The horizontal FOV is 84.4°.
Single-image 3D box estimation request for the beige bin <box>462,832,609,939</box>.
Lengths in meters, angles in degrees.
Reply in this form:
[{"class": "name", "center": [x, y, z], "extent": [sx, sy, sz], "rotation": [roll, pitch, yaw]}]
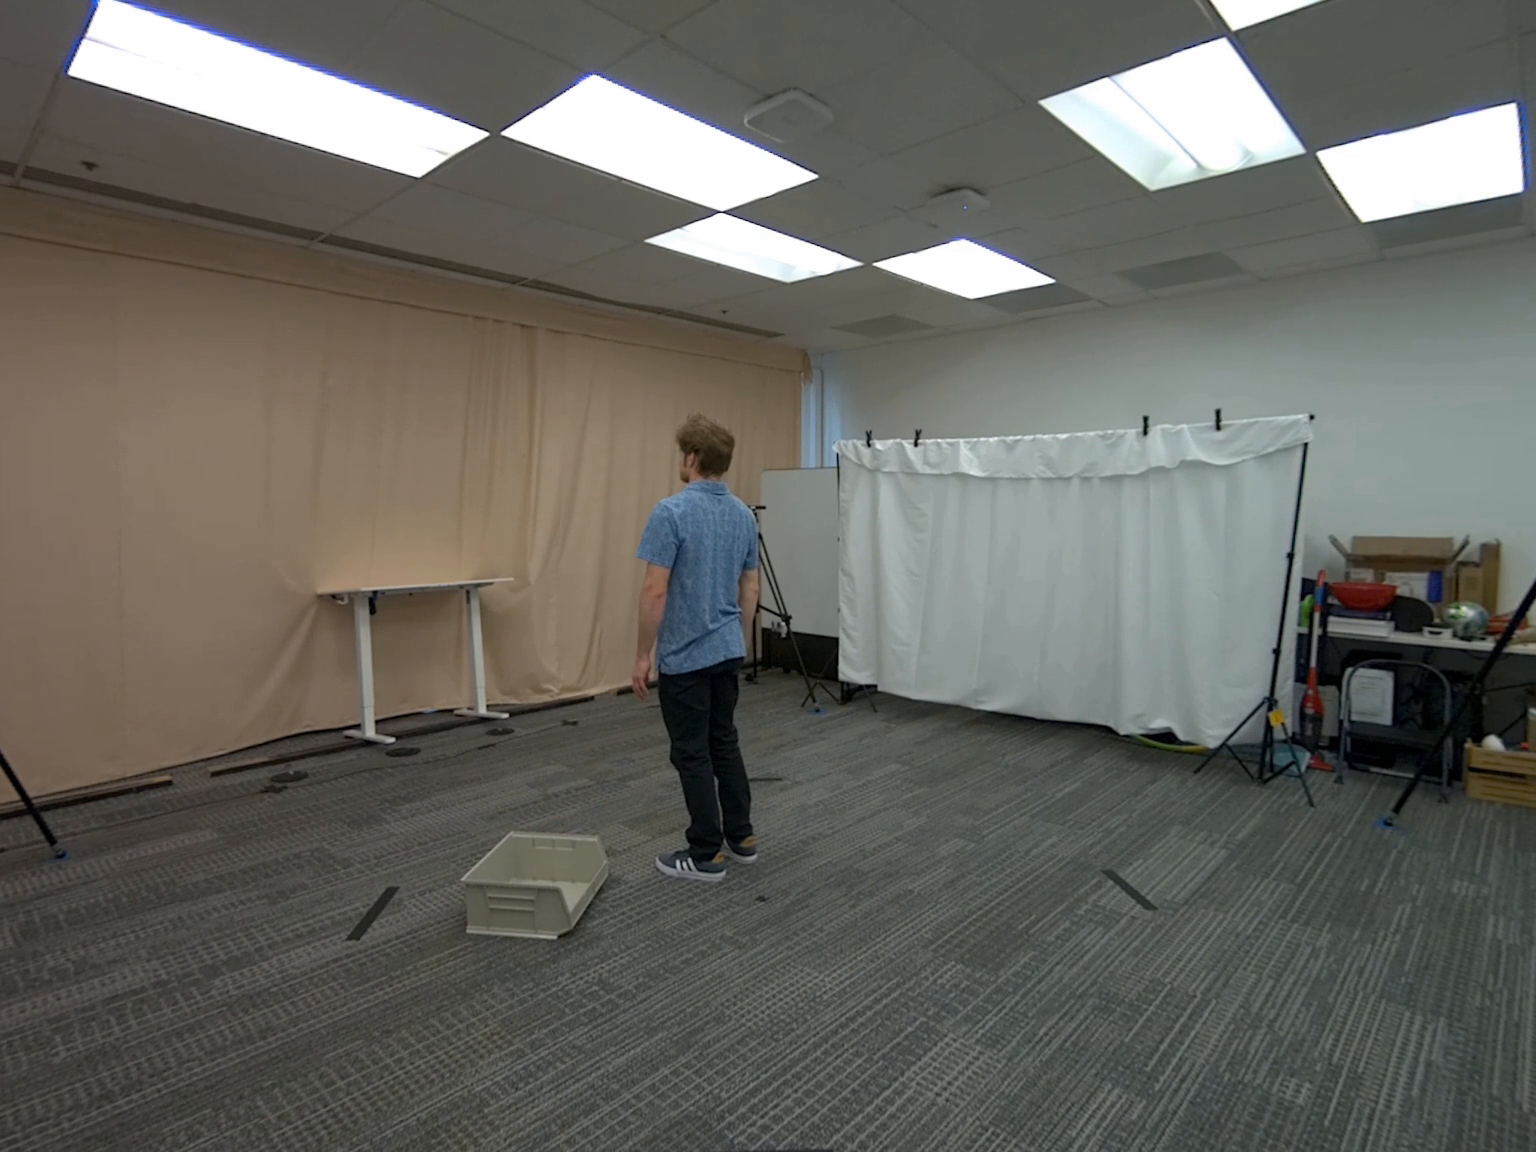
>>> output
[{"class": "beige bin", "center": [-0.799, 1.068, 2.927], "extent": [0.381, 0.188, 0.420], "rotation": [0, 5, 7]}]
